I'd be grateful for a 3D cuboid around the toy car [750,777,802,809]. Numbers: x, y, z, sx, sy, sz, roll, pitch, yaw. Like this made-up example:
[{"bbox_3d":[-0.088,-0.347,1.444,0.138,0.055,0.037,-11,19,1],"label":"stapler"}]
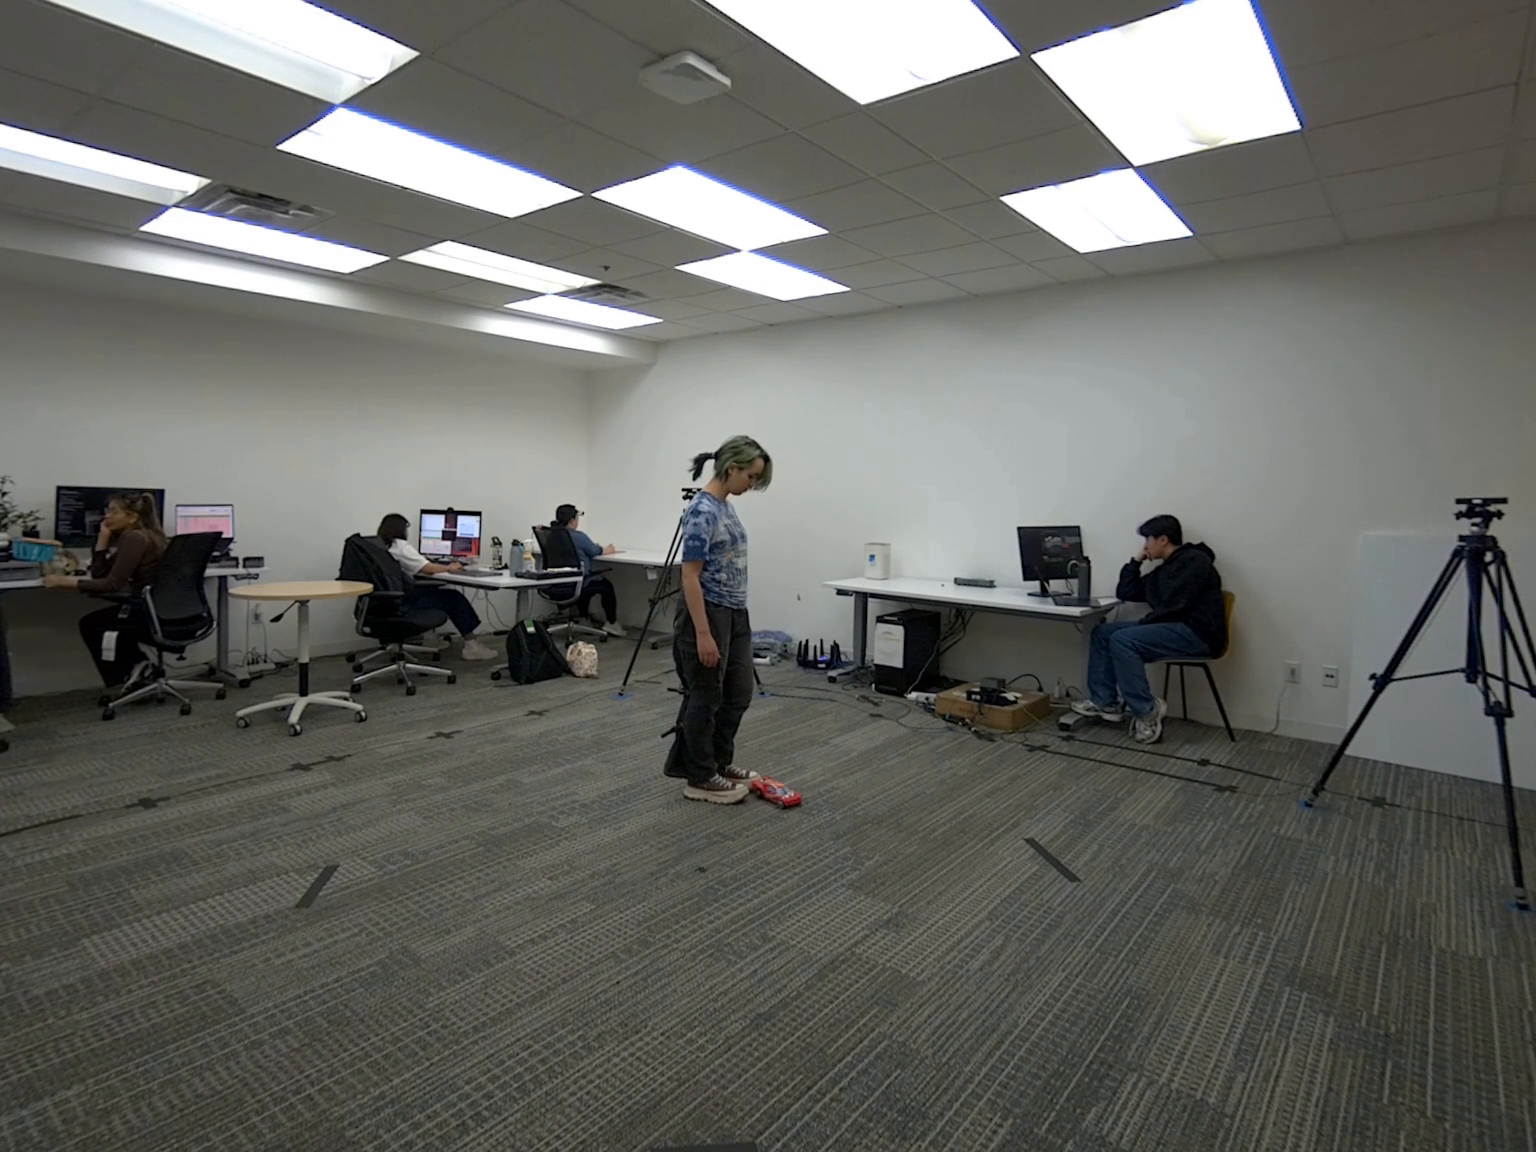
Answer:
[{"bbox_3d":[0.027,0.971,3.831,0.126,0.082,0.265,-3,17,-39],"label":"toy car"}]
